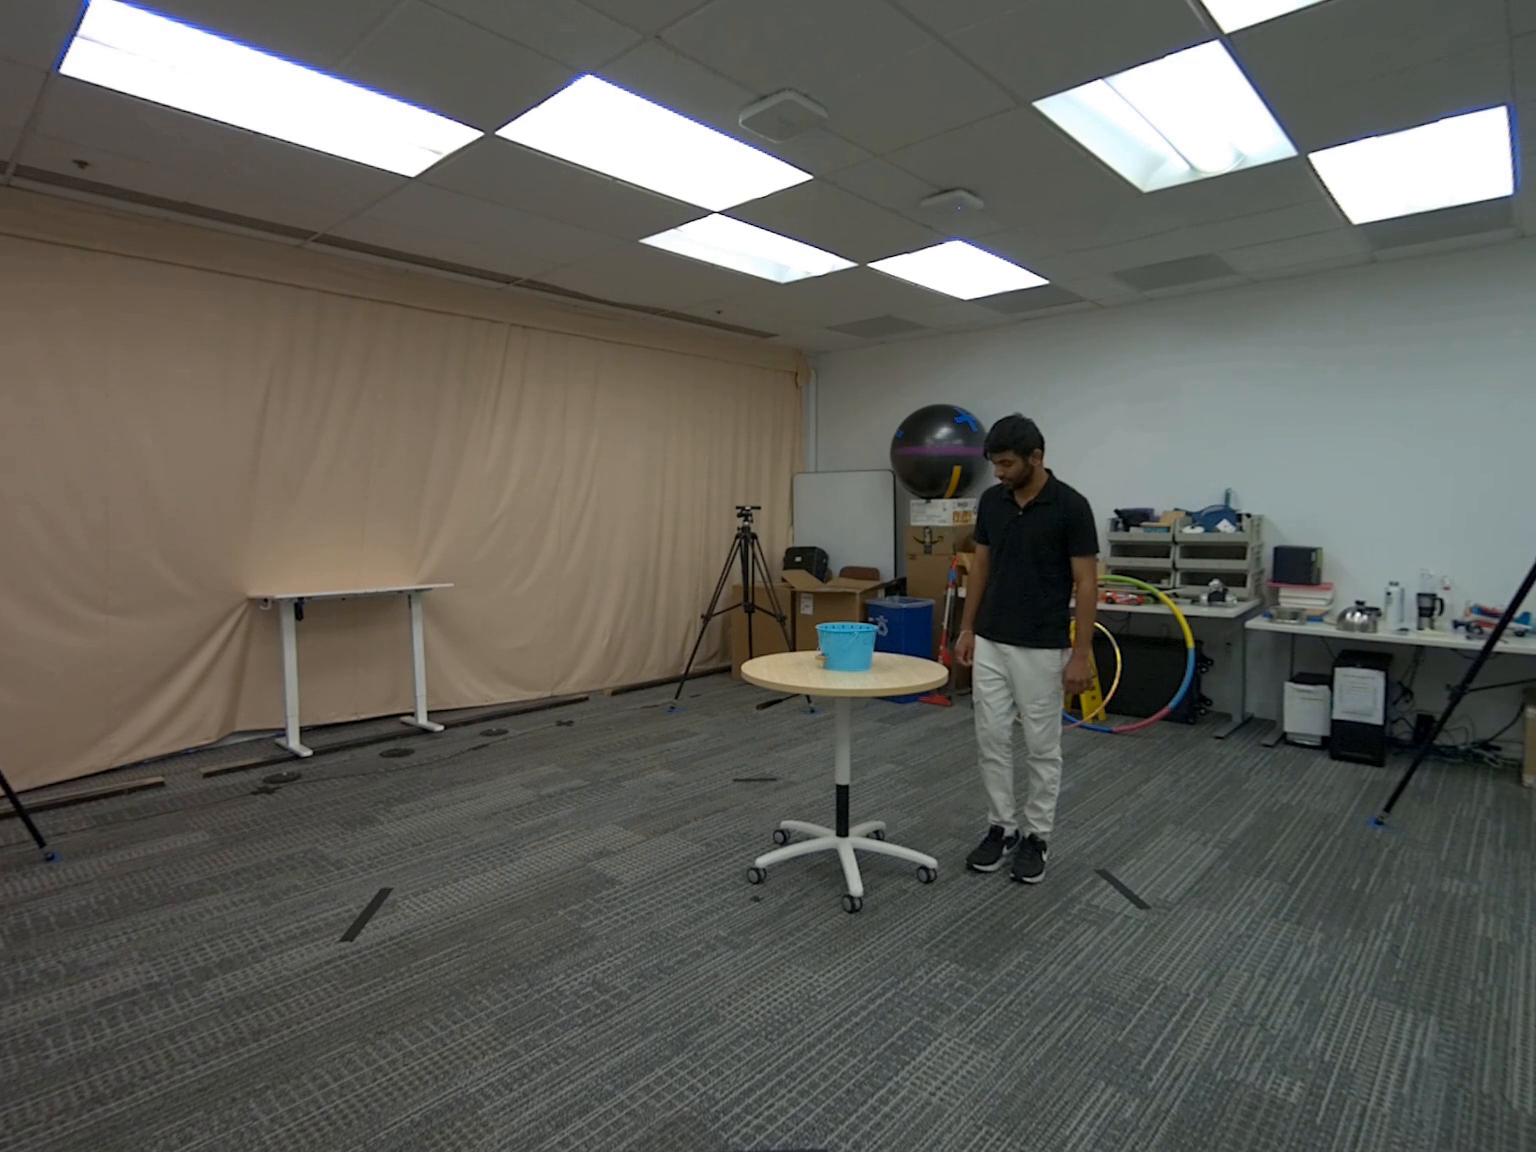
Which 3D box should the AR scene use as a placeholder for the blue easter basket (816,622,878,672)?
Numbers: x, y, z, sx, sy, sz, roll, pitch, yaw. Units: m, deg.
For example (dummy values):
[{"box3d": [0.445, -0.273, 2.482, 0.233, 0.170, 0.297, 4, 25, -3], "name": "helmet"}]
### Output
[{"box3d": [0.305, 0.274, 3.188, 0.243, 0.156, 0.244, 0, 2, -2], "name": "blue easter basket"}]
